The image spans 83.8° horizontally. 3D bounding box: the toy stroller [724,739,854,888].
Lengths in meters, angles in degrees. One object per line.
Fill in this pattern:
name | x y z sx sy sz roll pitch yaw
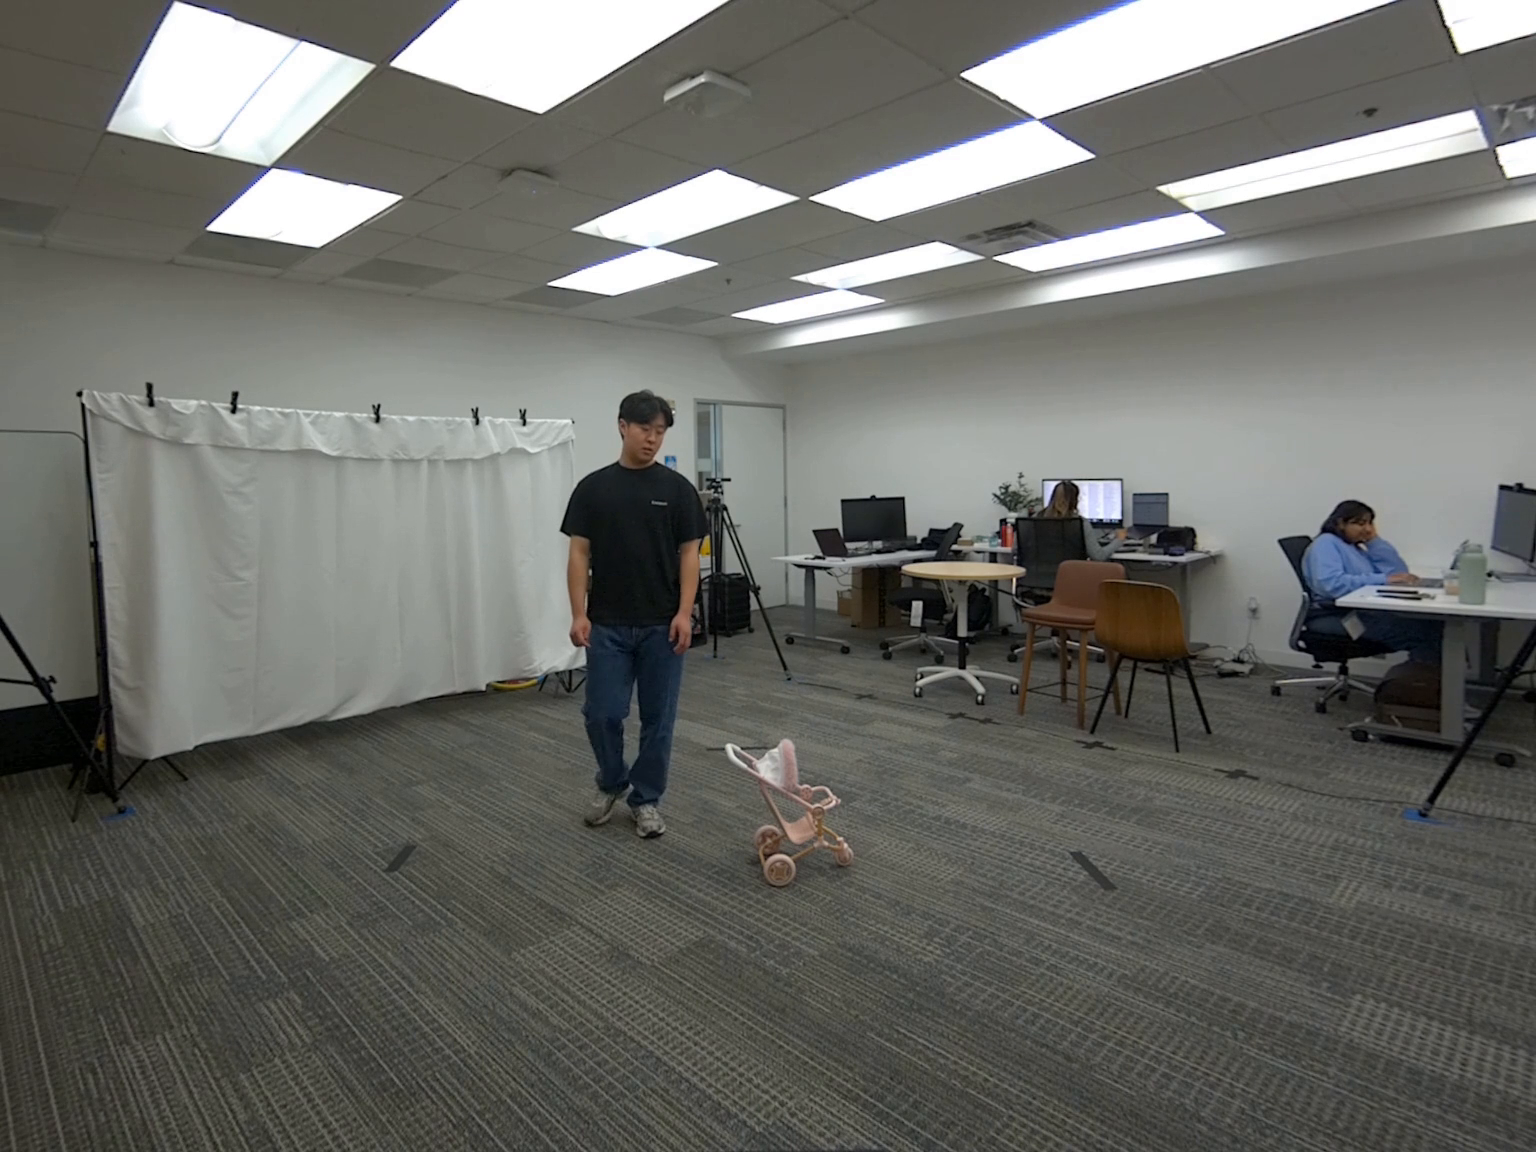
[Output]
toy stroller | 0.089 0.821 3.041 0.341 0.532 0.283 -16 5 -2
